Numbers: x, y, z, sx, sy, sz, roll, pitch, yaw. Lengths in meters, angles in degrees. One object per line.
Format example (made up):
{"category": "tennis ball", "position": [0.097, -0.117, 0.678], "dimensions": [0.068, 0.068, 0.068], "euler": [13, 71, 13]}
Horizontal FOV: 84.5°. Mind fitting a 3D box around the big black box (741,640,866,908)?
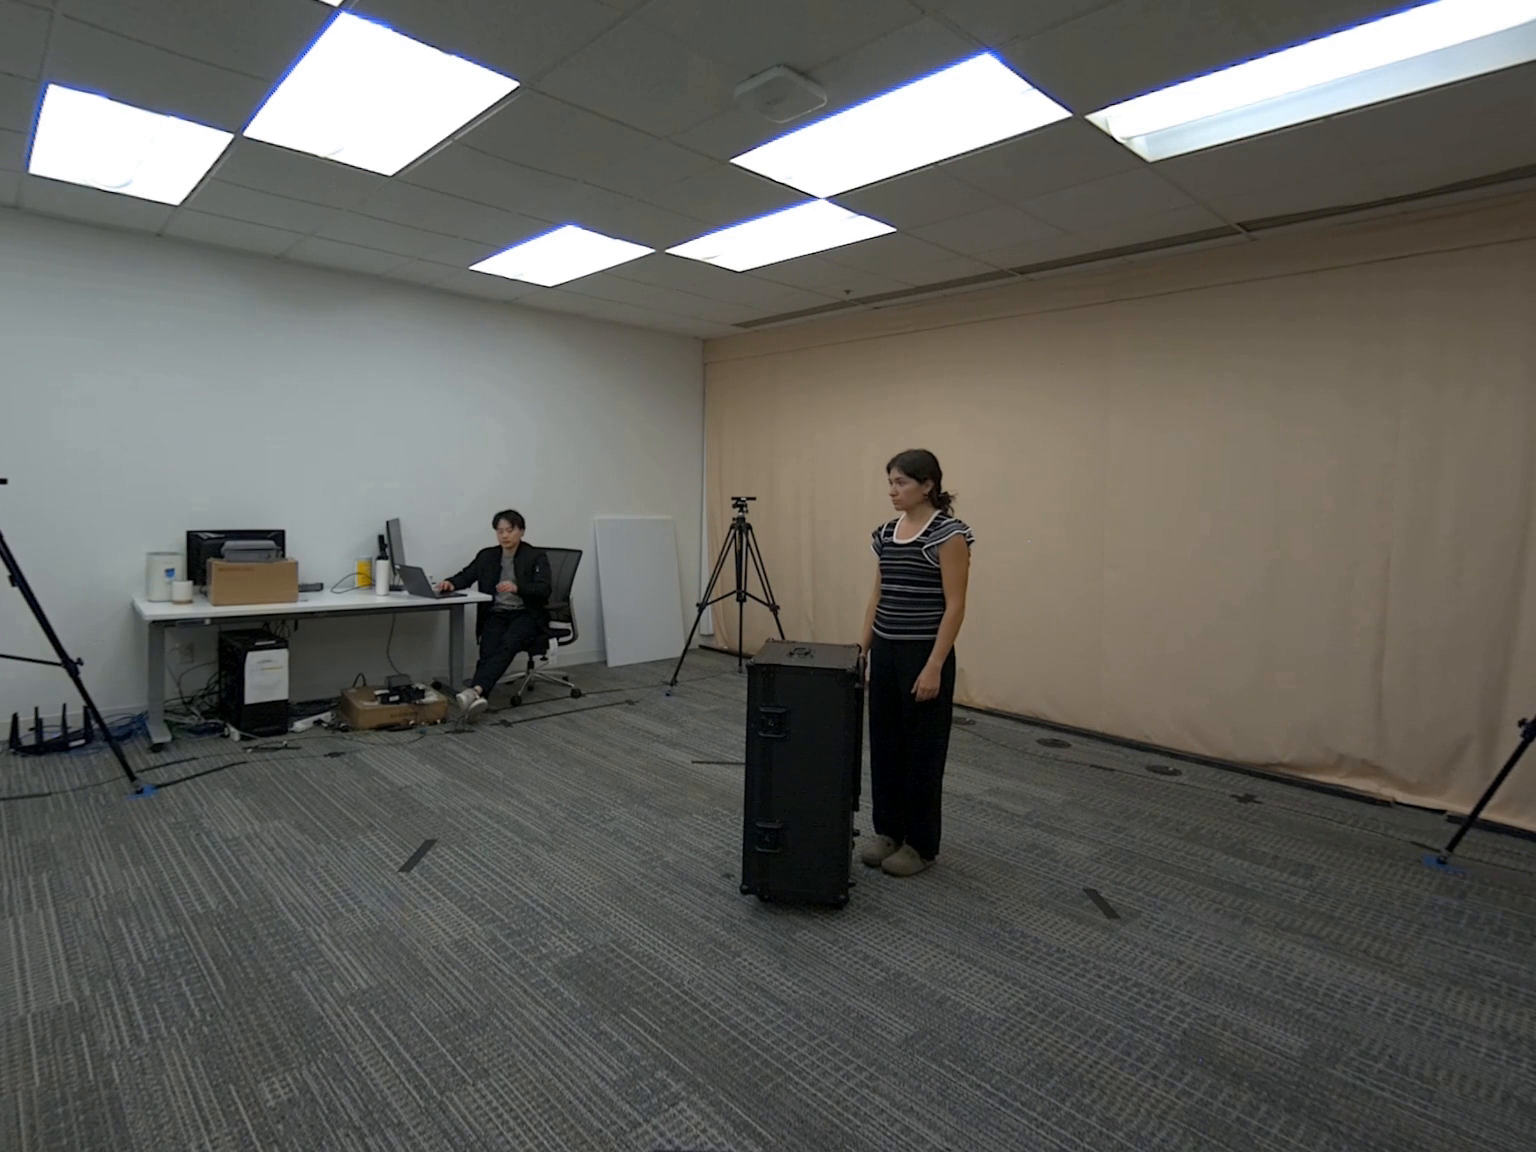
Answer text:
{"category": "big black box", "position": [0.132, 0.697, 2.991], "dimensions": [0.400, 0.860, 0.518], "euler": [3, 3, 9]}
